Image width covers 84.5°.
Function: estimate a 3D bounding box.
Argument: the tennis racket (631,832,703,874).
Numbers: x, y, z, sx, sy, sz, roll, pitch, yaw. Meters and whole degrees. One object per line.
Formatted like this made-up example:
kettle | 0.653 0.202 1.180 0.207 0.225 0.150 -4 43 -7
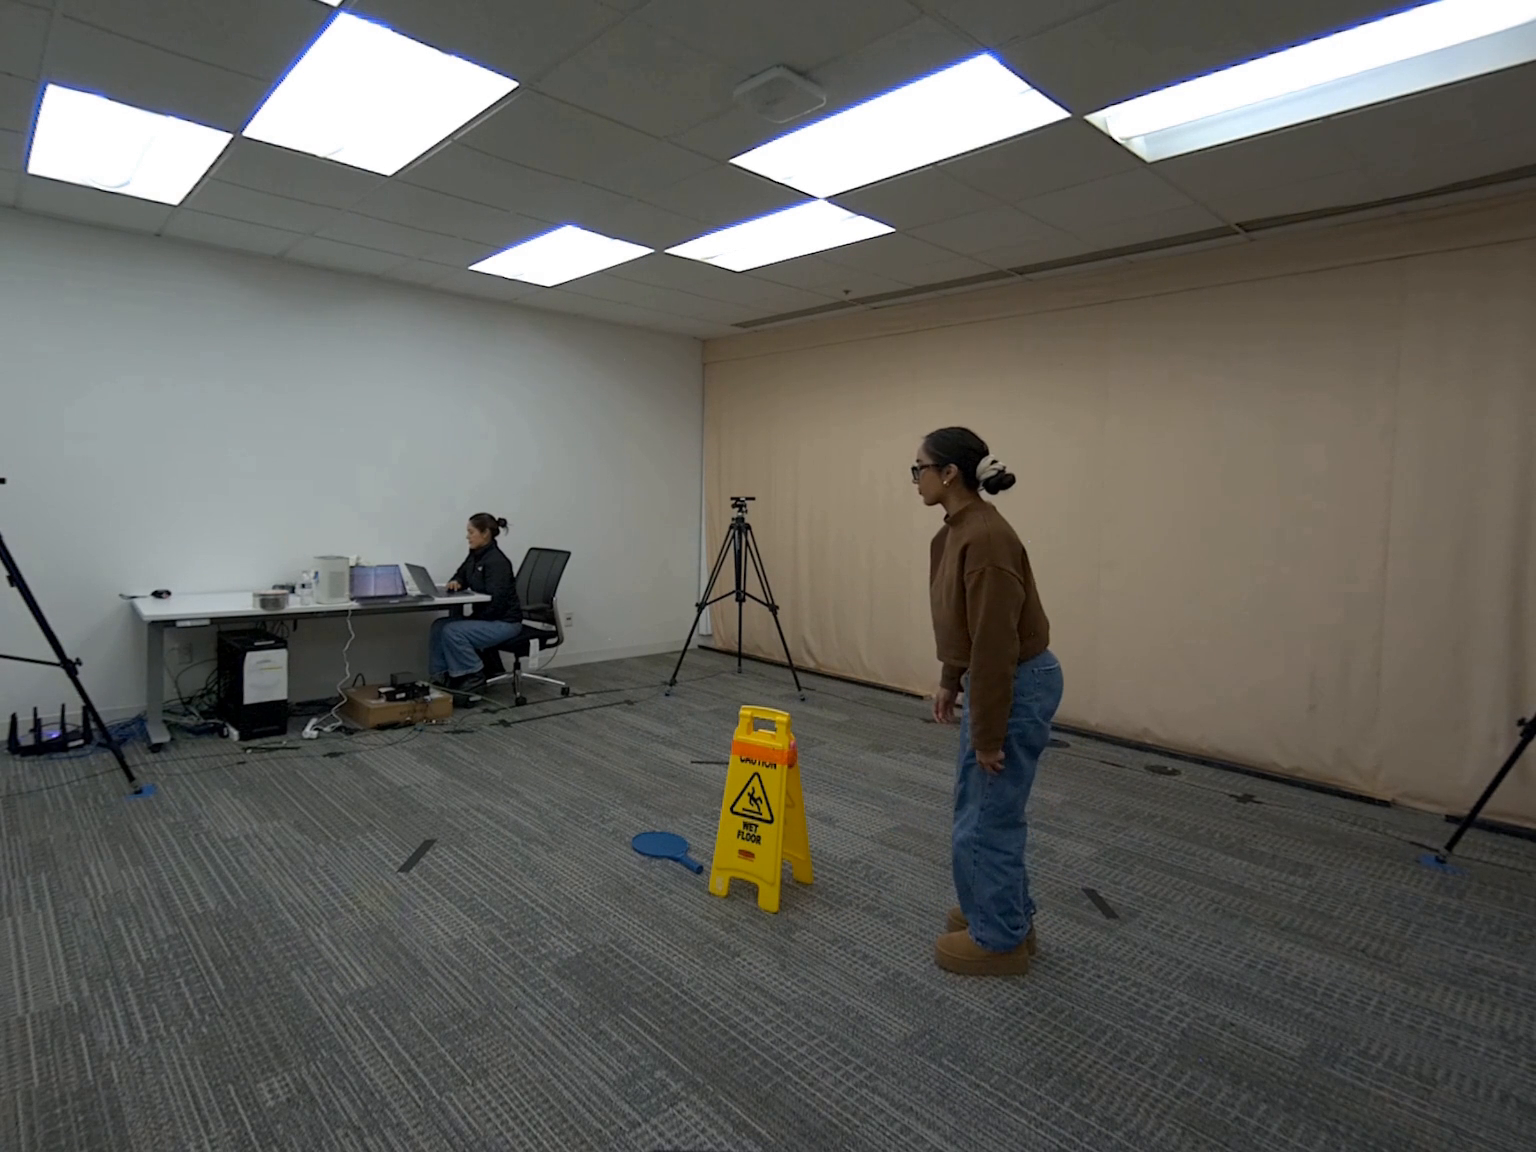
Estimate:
tennis racket | -0.384 1.072 3.287 0.209 0.032 0.443 -2 5 -37
